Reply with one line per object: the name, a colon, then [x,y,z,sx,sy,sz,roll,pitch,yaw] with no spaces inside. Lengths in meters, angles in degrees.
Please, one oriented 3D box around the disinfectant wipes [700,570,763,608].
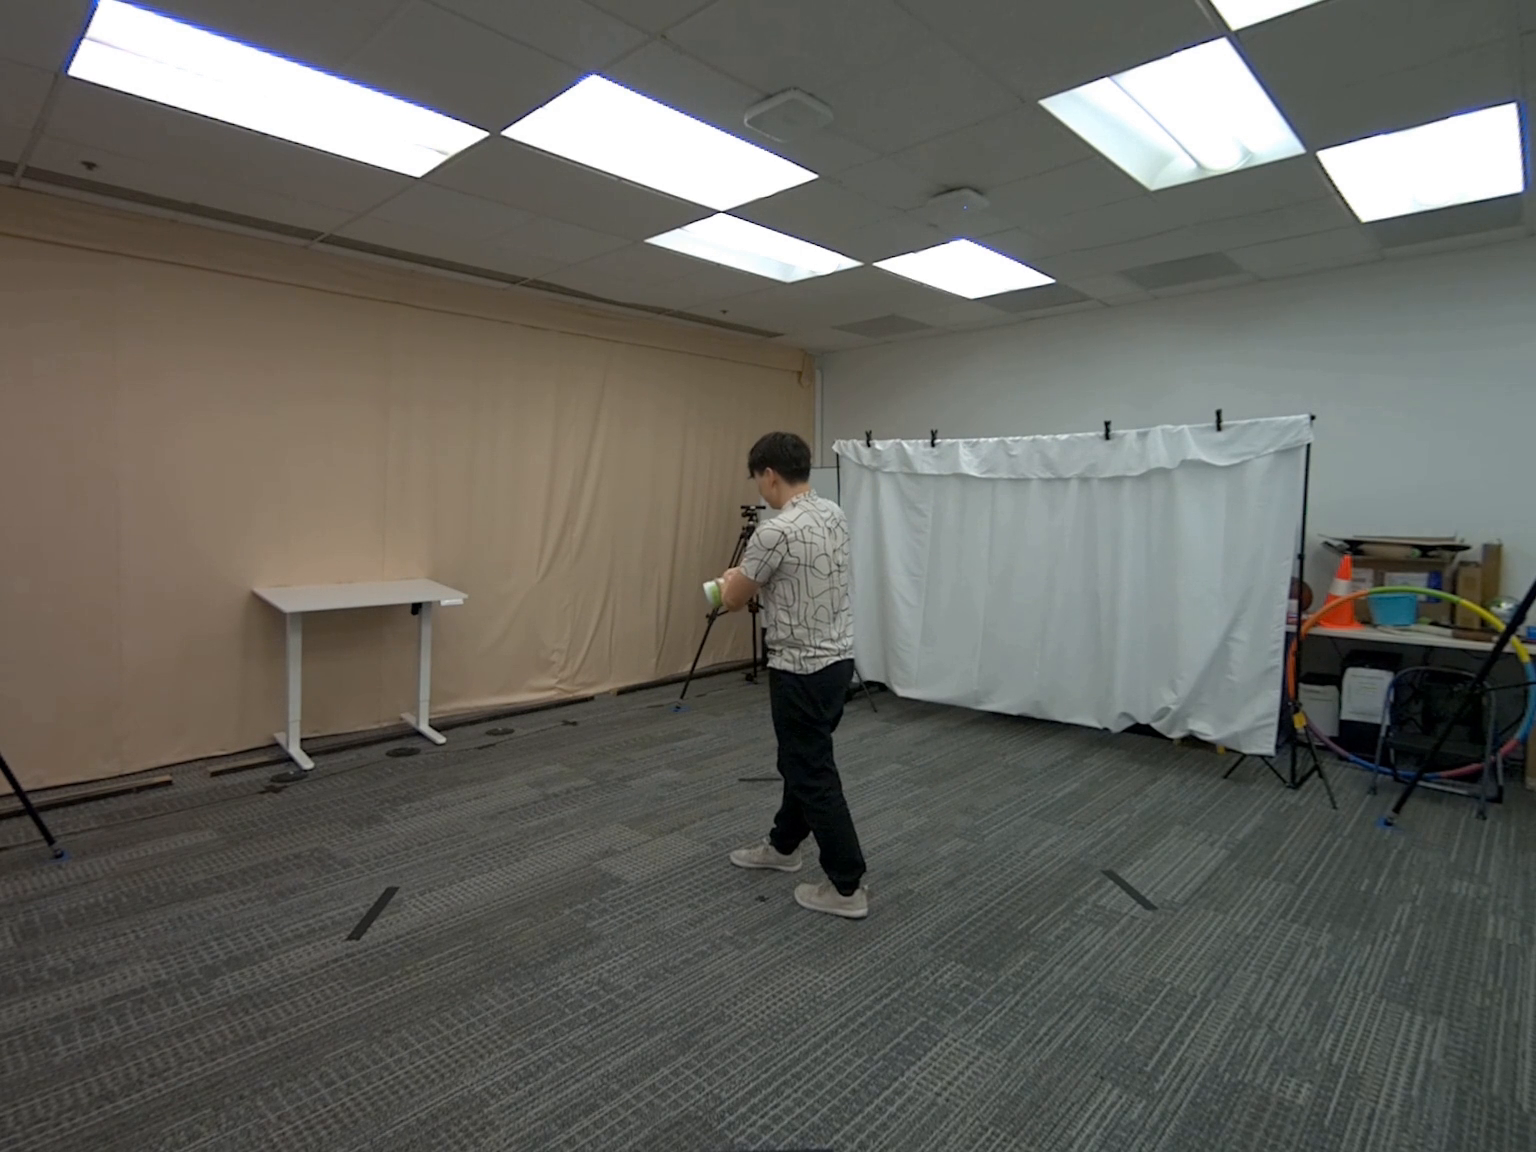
disinfectant wipes: [-0.142,0.036,3.255,0.218,0.117,0.118,-9,4,1]
